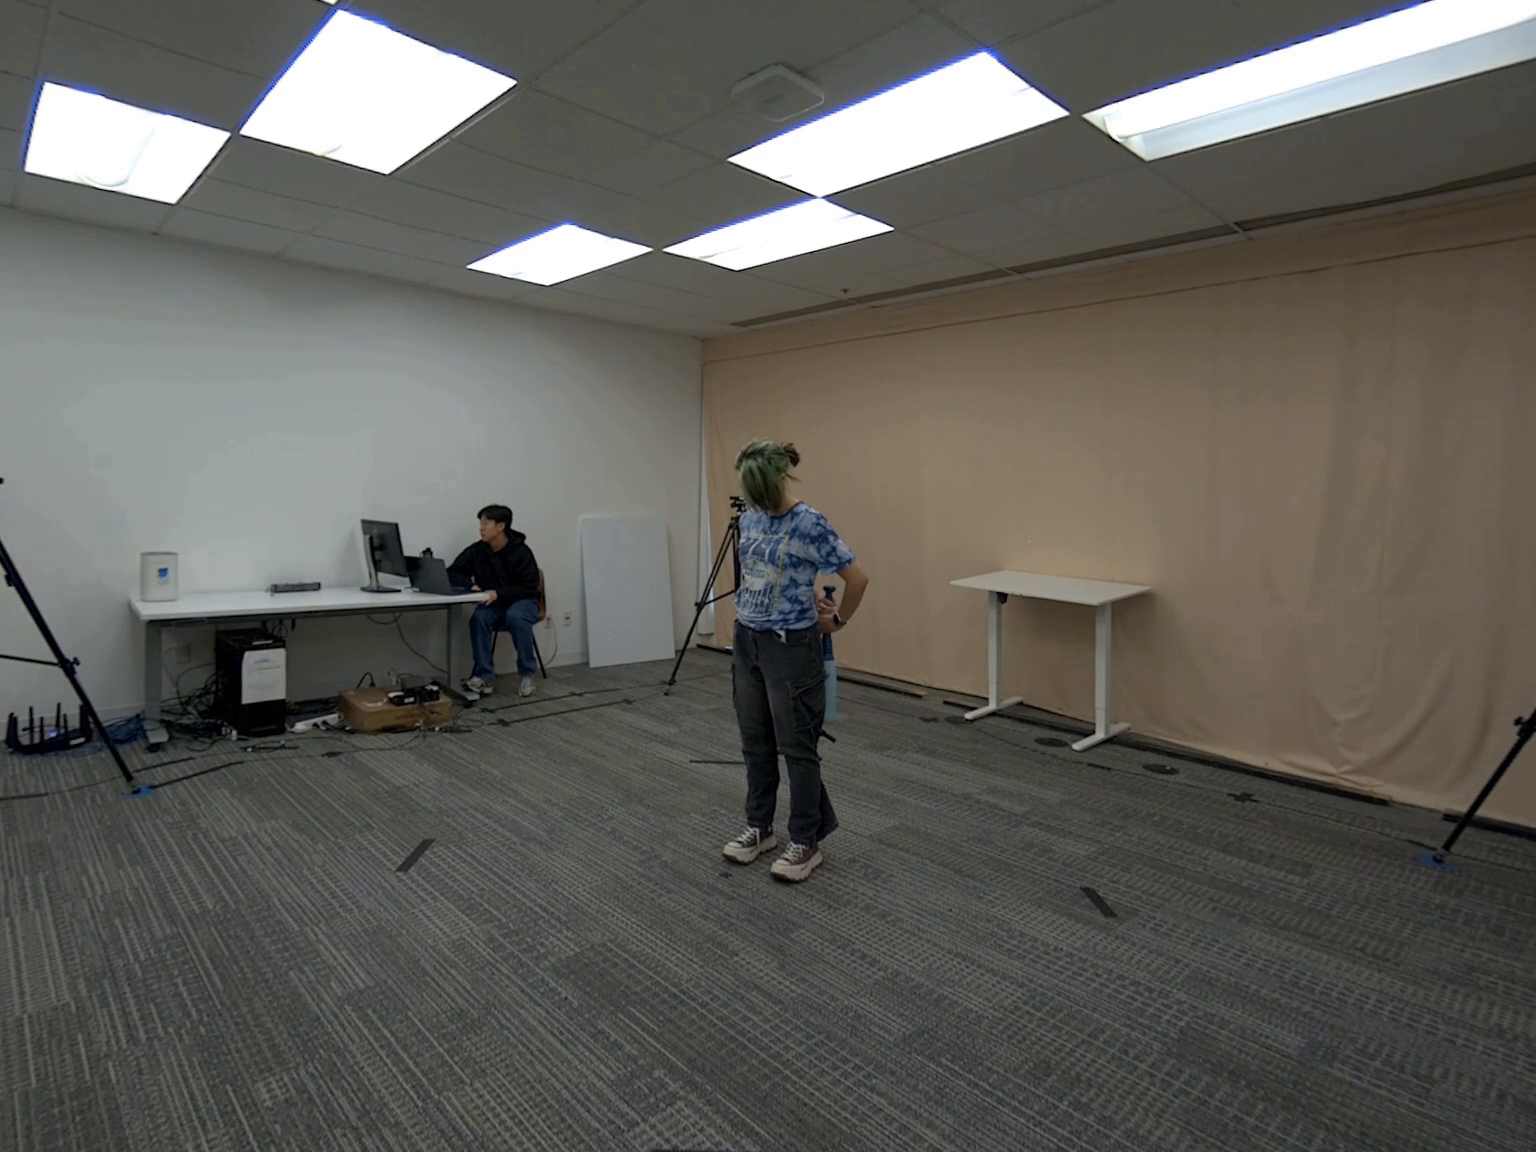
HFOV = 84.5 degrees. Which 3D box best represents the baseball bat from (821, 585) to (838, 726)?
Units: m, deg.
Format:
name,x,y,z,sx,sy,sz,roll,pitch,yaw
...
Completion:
name,x,y,z,sx,sy,sz,roll,pitch,yaw
baseball bat,0.219,0.313,3.327,0.089,0.544,0.089,3,-2,-1
